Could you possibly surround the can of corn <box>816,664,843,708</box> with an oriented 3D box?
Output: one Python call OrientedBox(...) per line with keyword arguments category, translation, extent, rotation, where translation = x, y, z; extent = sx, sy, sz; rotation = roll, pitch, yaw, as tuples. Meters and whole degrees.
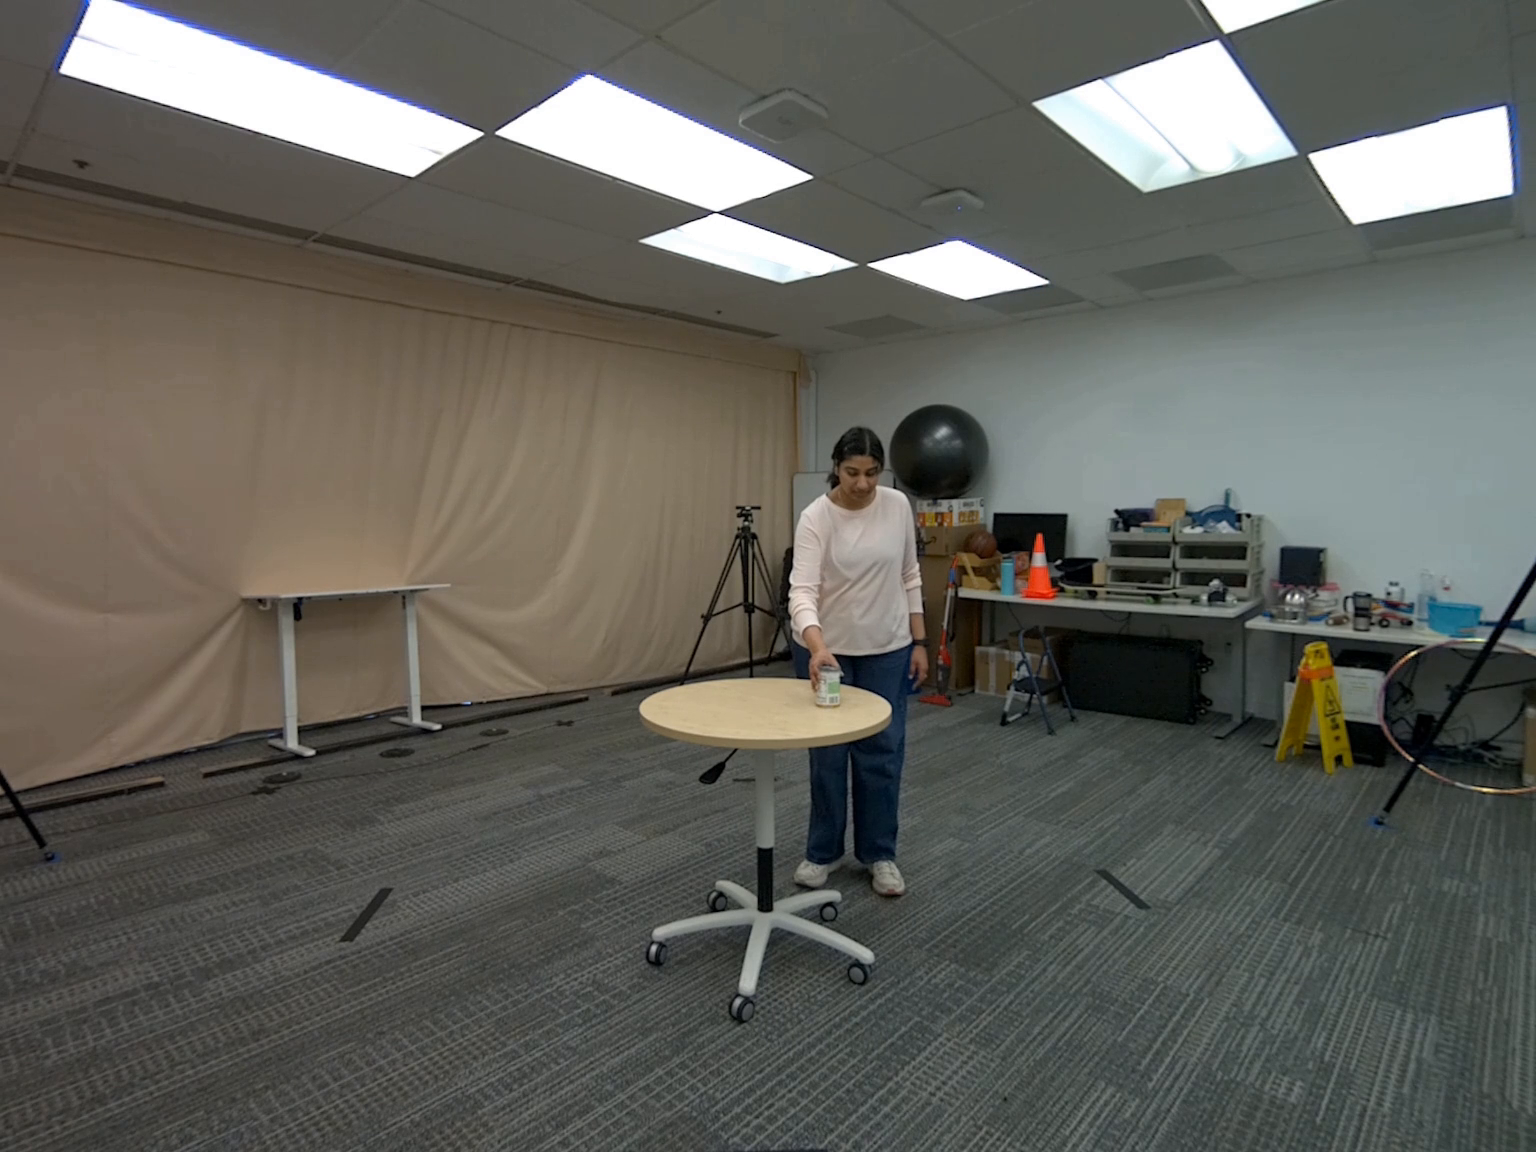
OrientedBox(category="can of corn", translation=(0.175, 0.336, 2.558), extent=(0.074, 0.111, 0.074), rotation=(1, 5, -2))
